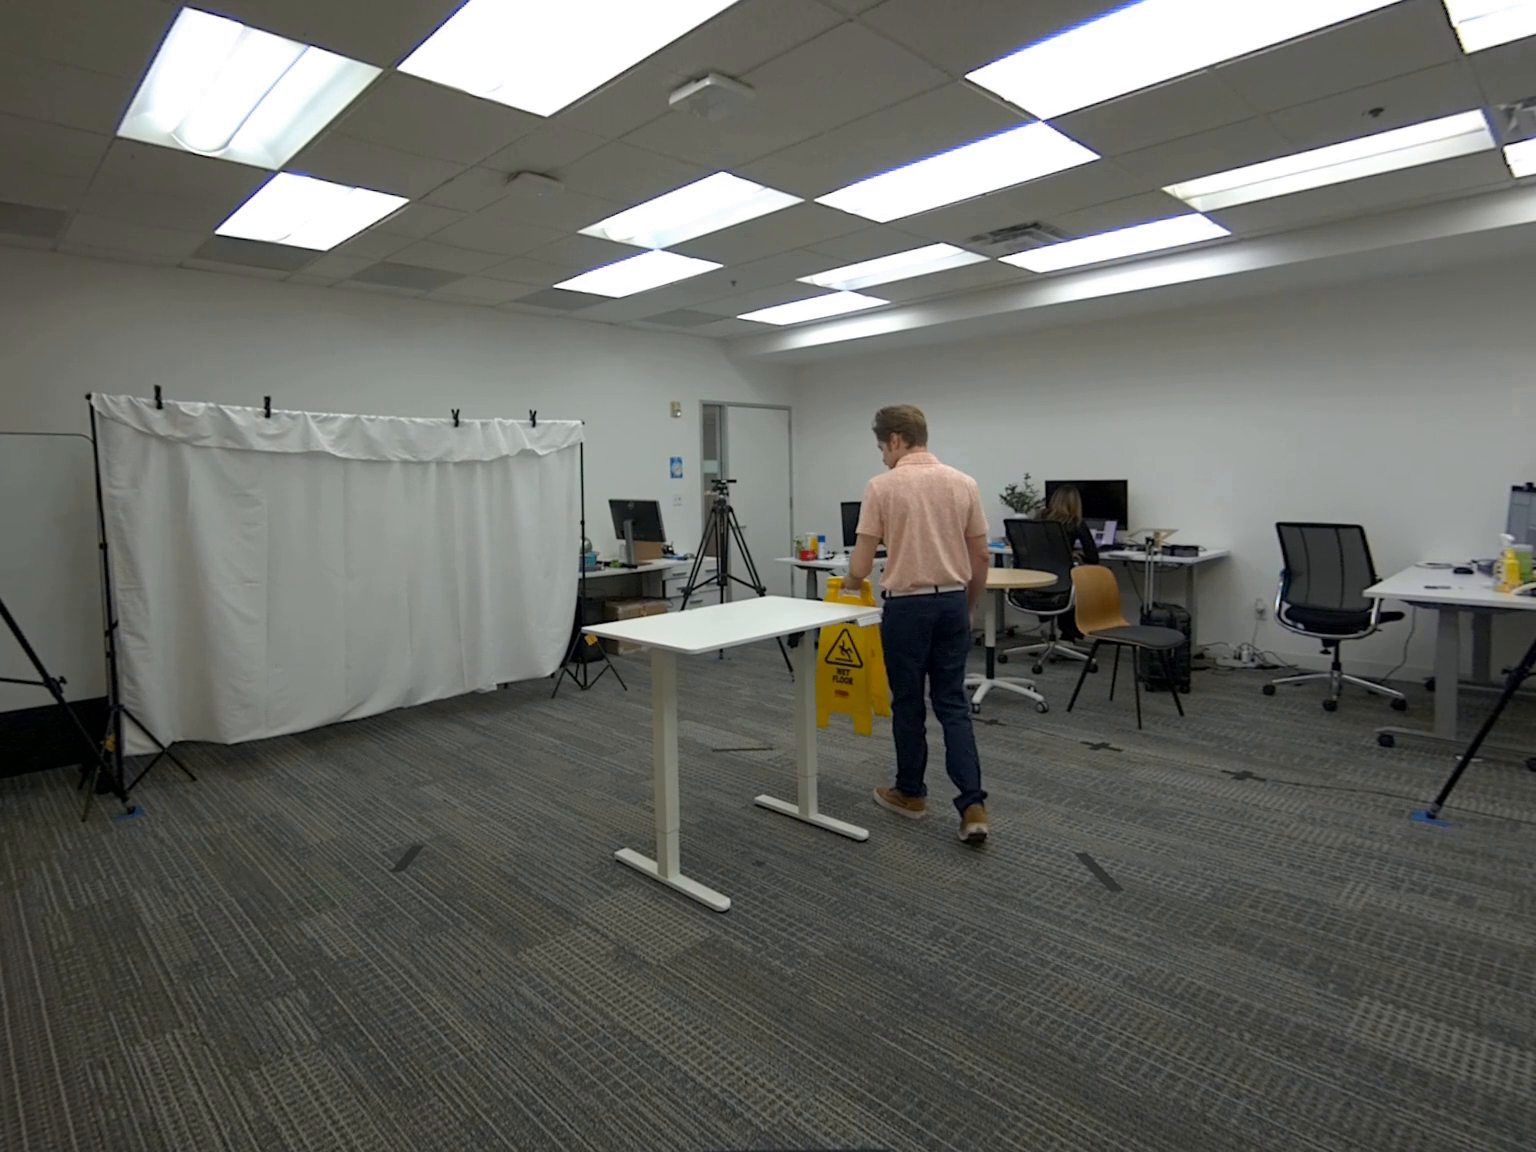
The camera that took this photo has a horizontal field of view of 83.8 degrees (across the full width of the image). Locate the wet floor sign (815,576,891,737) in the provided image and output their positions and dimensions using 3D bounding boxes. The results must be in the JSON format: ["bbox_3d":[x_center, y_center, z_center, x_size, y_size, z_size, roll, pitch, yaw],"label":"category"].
[{"bbox_3d":[0.360,0.329,3.761,0.290,0.641,0.284,4,11,30],"label":"wet floor sign"}]
